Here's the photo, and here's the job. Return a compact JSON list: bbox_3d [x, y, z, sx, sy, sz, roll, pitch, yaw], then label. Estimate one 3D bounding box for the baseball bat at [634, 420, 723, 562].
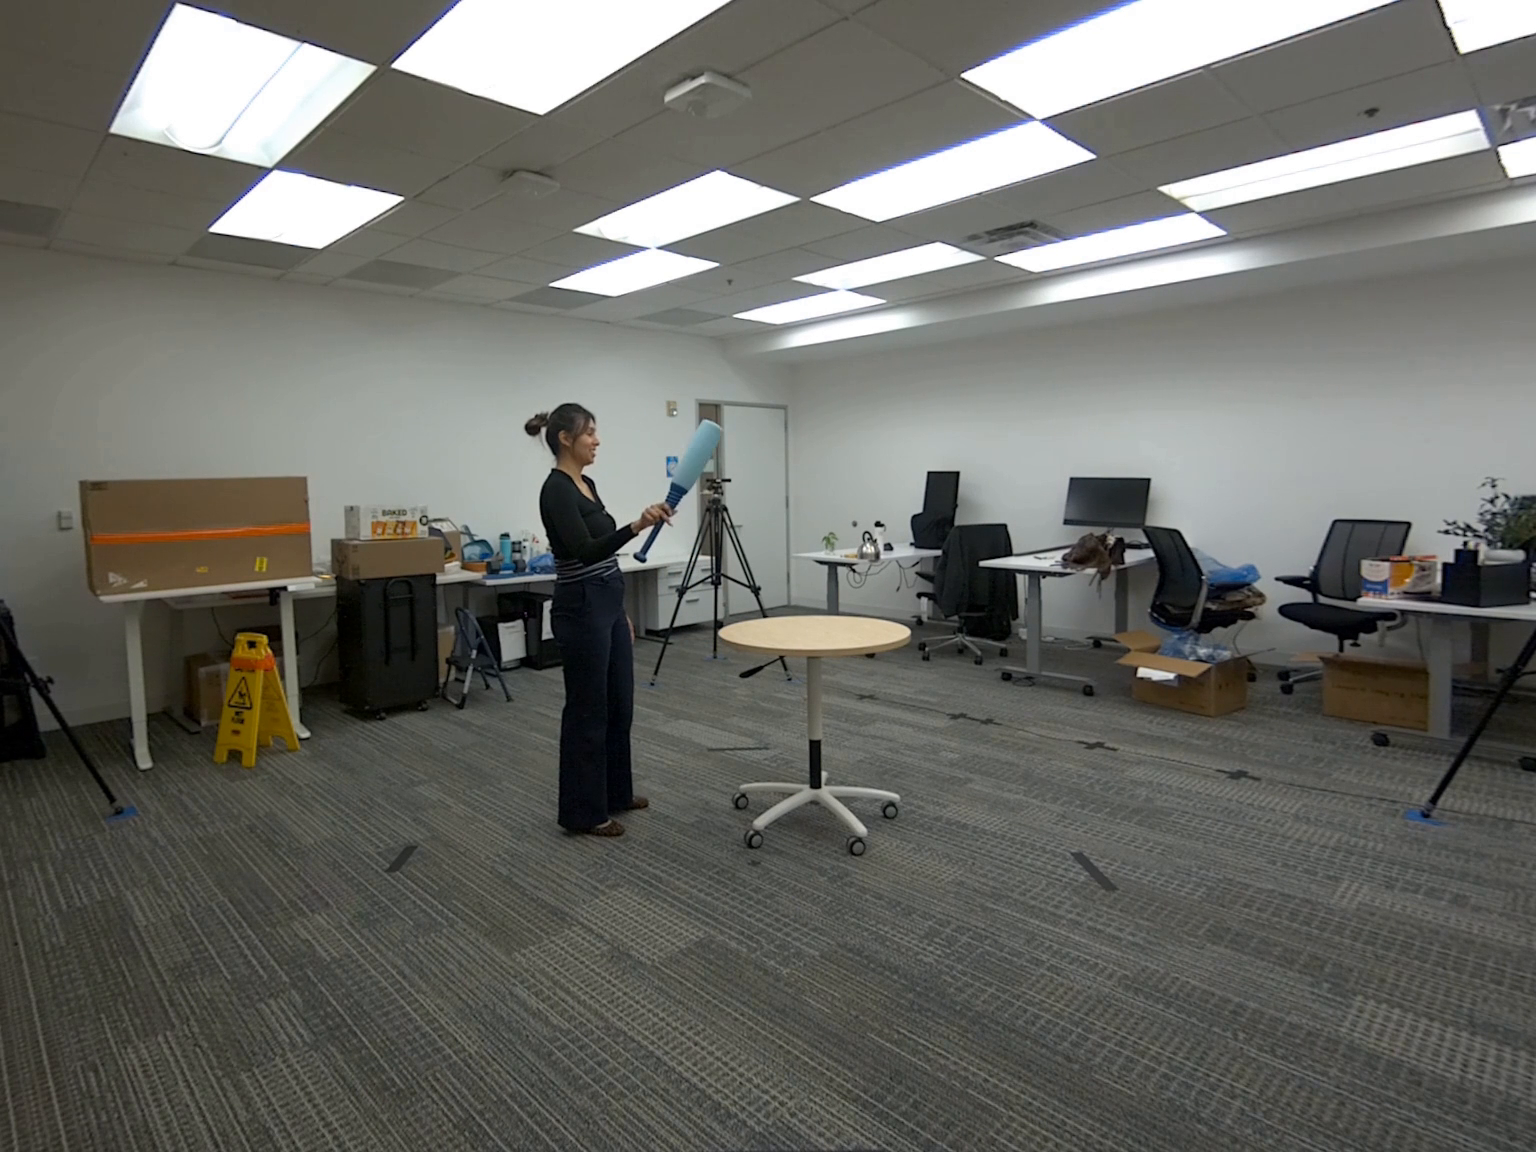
[{"bbox_3d":[-0.315,-0.286,2.932,0.089,0.544,0.089,27,-4,0],"label":"baseball bat"}]
